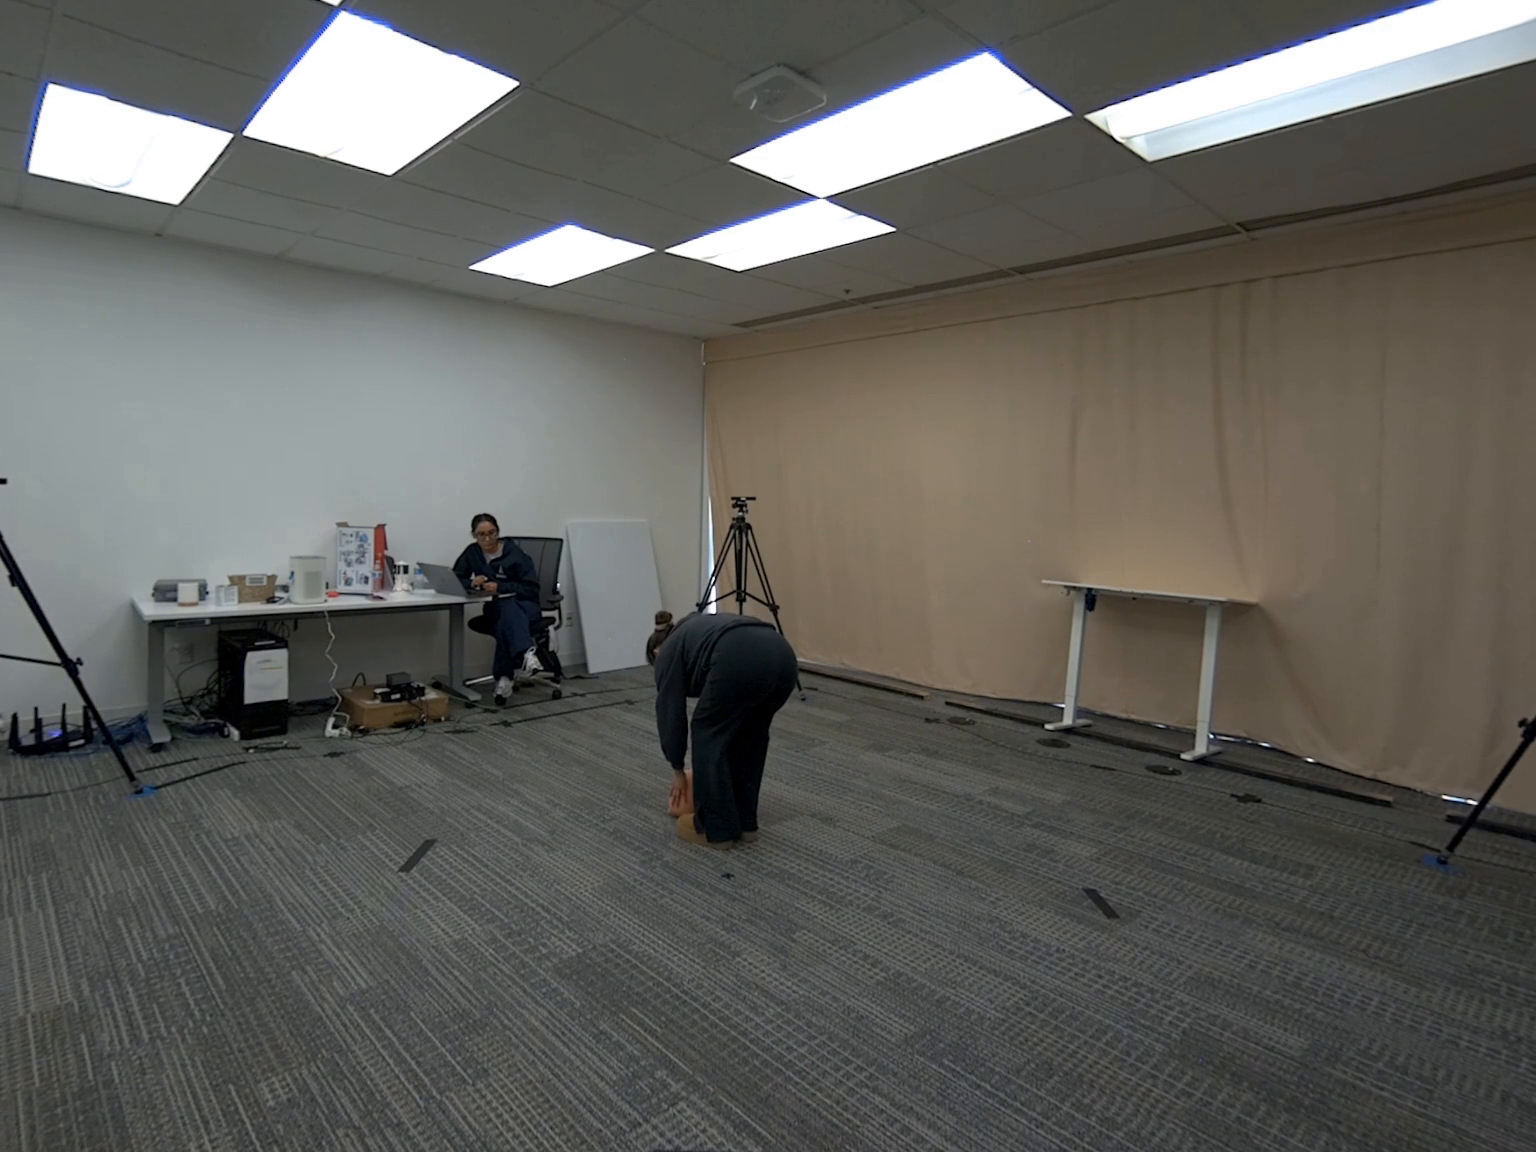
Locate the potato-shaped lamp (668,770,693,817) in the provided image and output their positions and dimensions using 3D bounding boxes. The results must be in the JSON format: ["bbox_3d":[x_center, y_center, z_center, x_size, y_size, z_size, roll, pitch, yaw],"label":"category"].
[{"bbox_3d":[-0.358,0.928,3.692,0.176,0.197,0.161,6,7,41],"label":"potato-shaped lamp"}]
